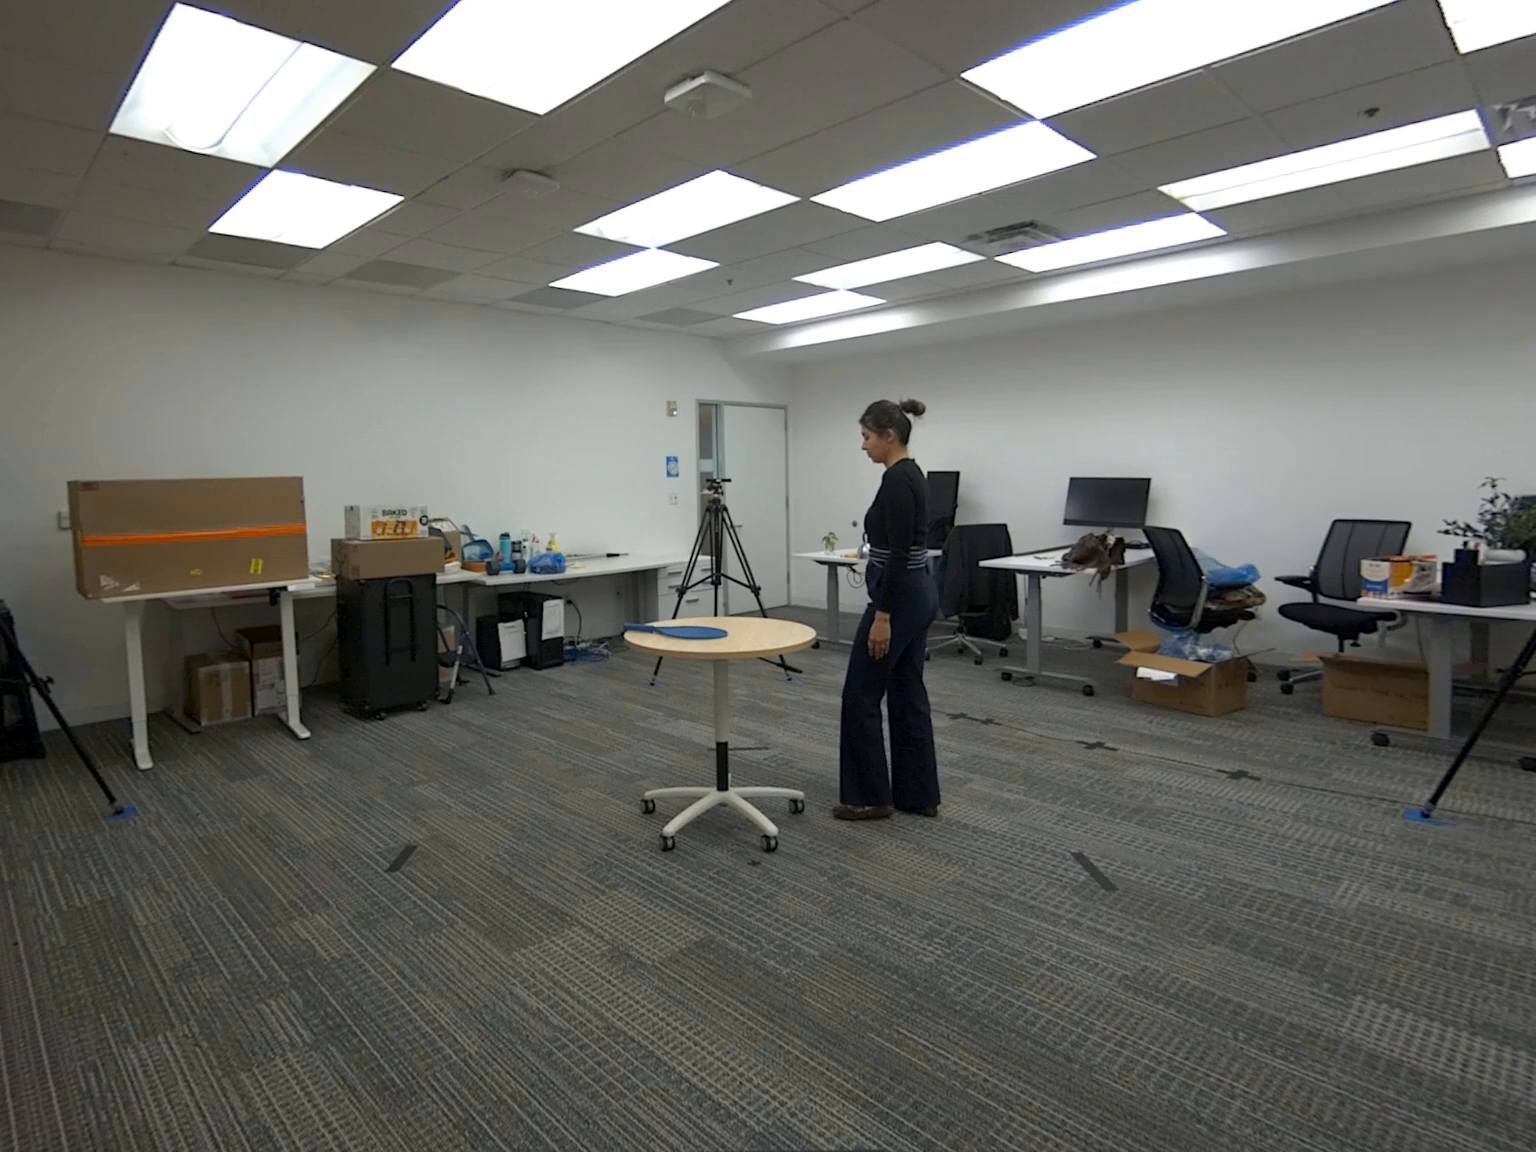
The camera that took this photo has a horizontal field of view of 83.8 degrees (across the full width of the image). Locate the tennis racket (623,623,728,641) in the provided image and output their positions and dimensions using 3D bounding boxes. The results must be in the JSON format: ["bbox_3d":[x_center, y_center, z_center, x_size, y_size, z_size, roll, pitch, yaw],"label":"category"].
[{"bbox_3d":[-0.379,0.221,3.405,0.440,0.031,0.211,3,7,17],"label":"tennis racket"}]
